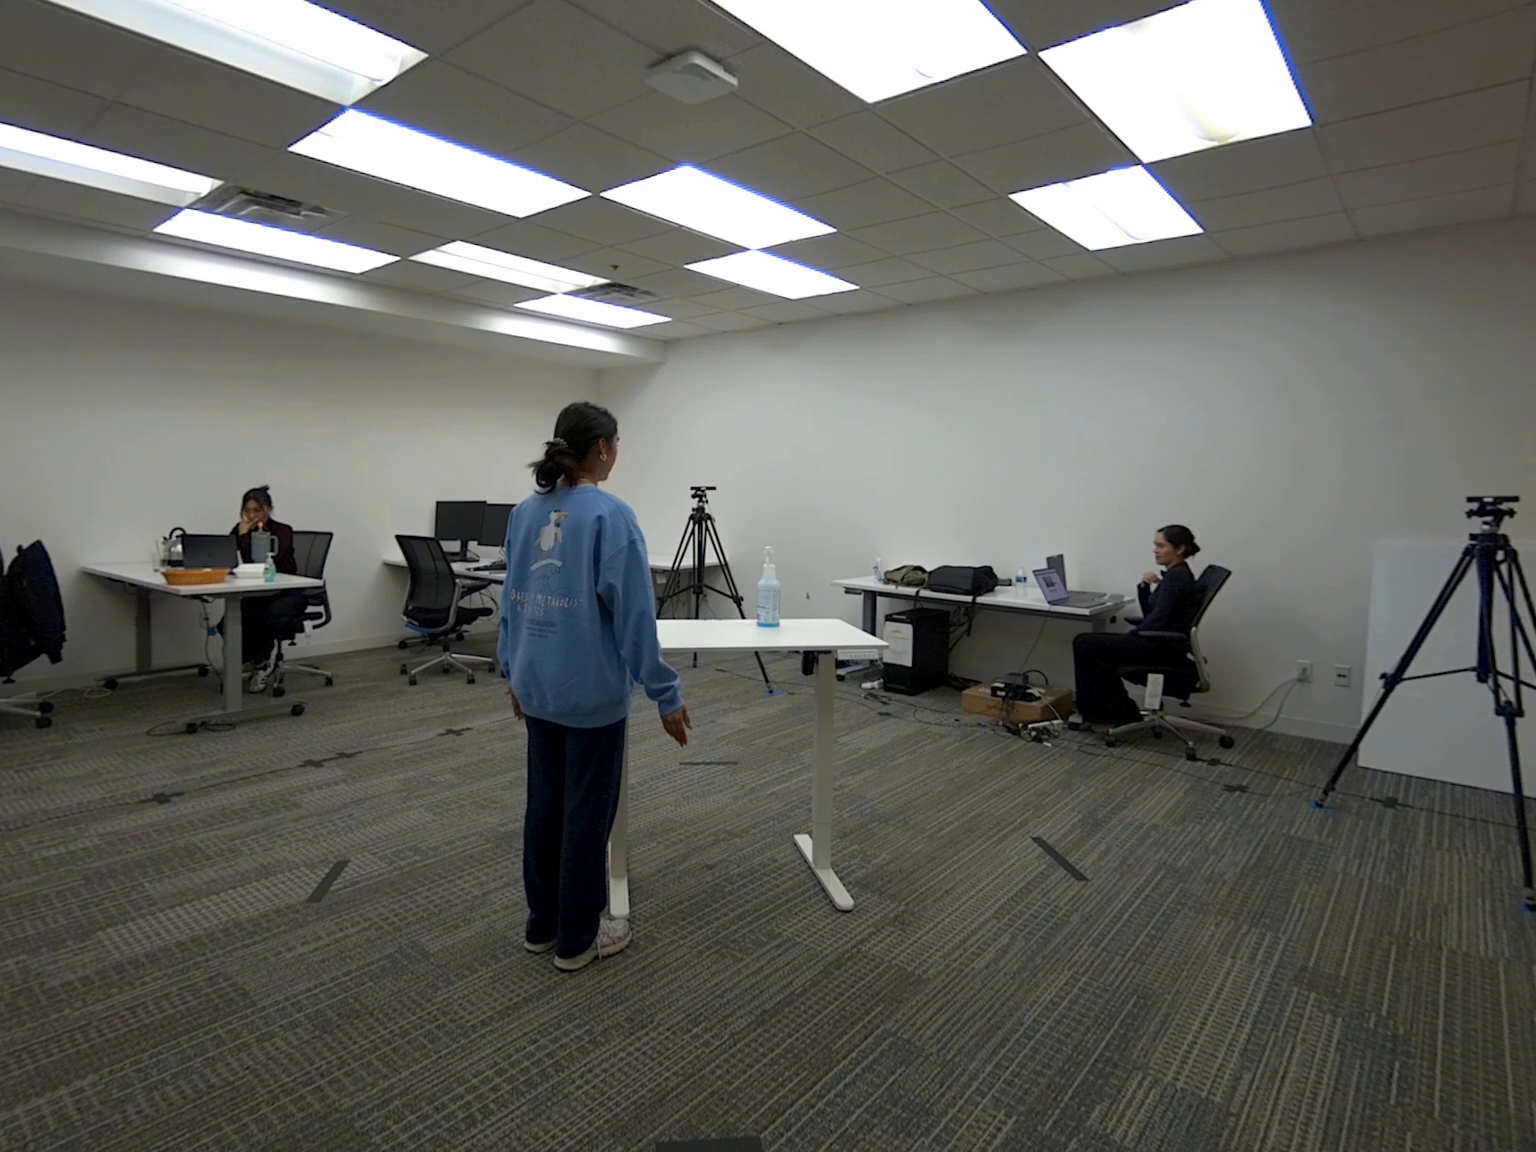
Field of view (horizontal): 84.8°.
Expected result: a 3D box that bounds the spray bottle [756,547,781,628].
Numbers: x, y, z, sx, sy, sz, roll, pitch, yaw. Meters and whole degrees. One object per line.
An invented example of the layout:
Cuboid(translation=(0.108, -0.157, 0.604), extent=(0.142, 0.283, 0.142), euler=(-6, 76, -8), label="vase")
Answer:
Cuboid(translation=(-0.003, 0.036, 3.164), extent=(0.090, 0.297, 0.087), euler=(4, 3, 37), label="spray bottle")
